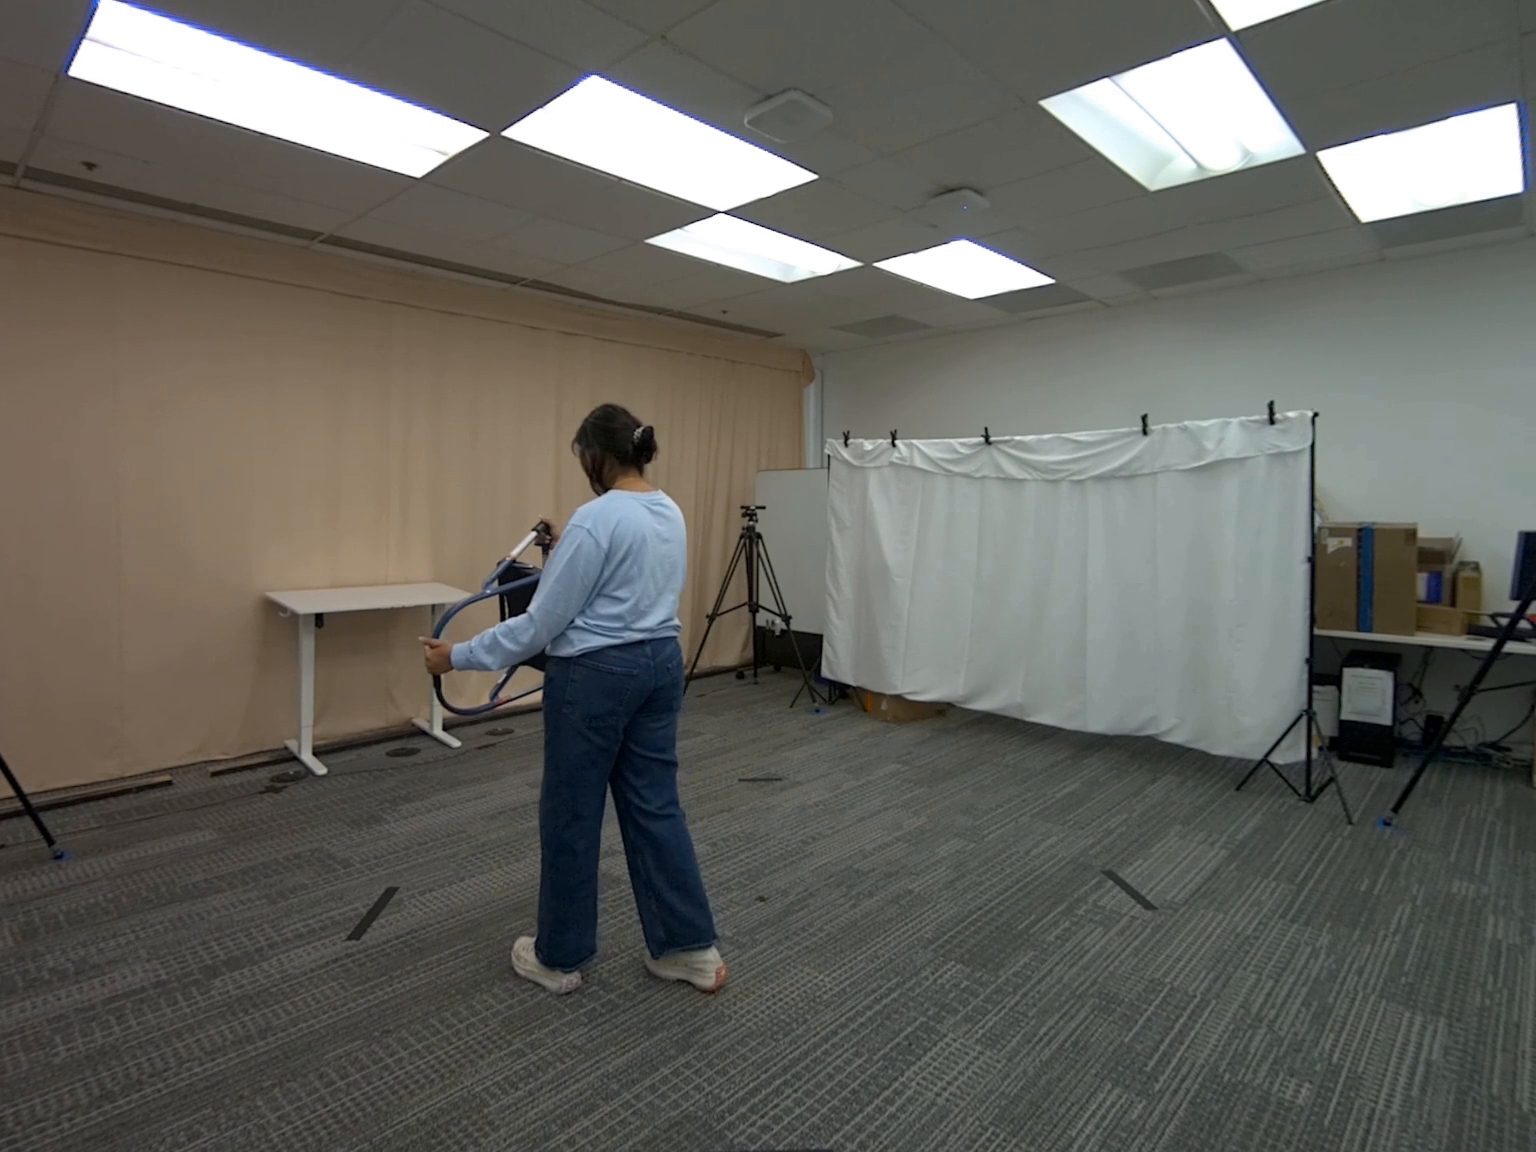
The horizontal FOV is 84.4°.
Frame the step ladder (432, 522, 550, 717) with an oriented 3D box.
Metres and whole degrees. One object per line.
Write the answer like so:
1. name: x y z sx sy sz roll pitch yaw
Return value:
1. step ladder: -0.728 0.166 2.527 0.358 0.425 0.599 16 30 20
